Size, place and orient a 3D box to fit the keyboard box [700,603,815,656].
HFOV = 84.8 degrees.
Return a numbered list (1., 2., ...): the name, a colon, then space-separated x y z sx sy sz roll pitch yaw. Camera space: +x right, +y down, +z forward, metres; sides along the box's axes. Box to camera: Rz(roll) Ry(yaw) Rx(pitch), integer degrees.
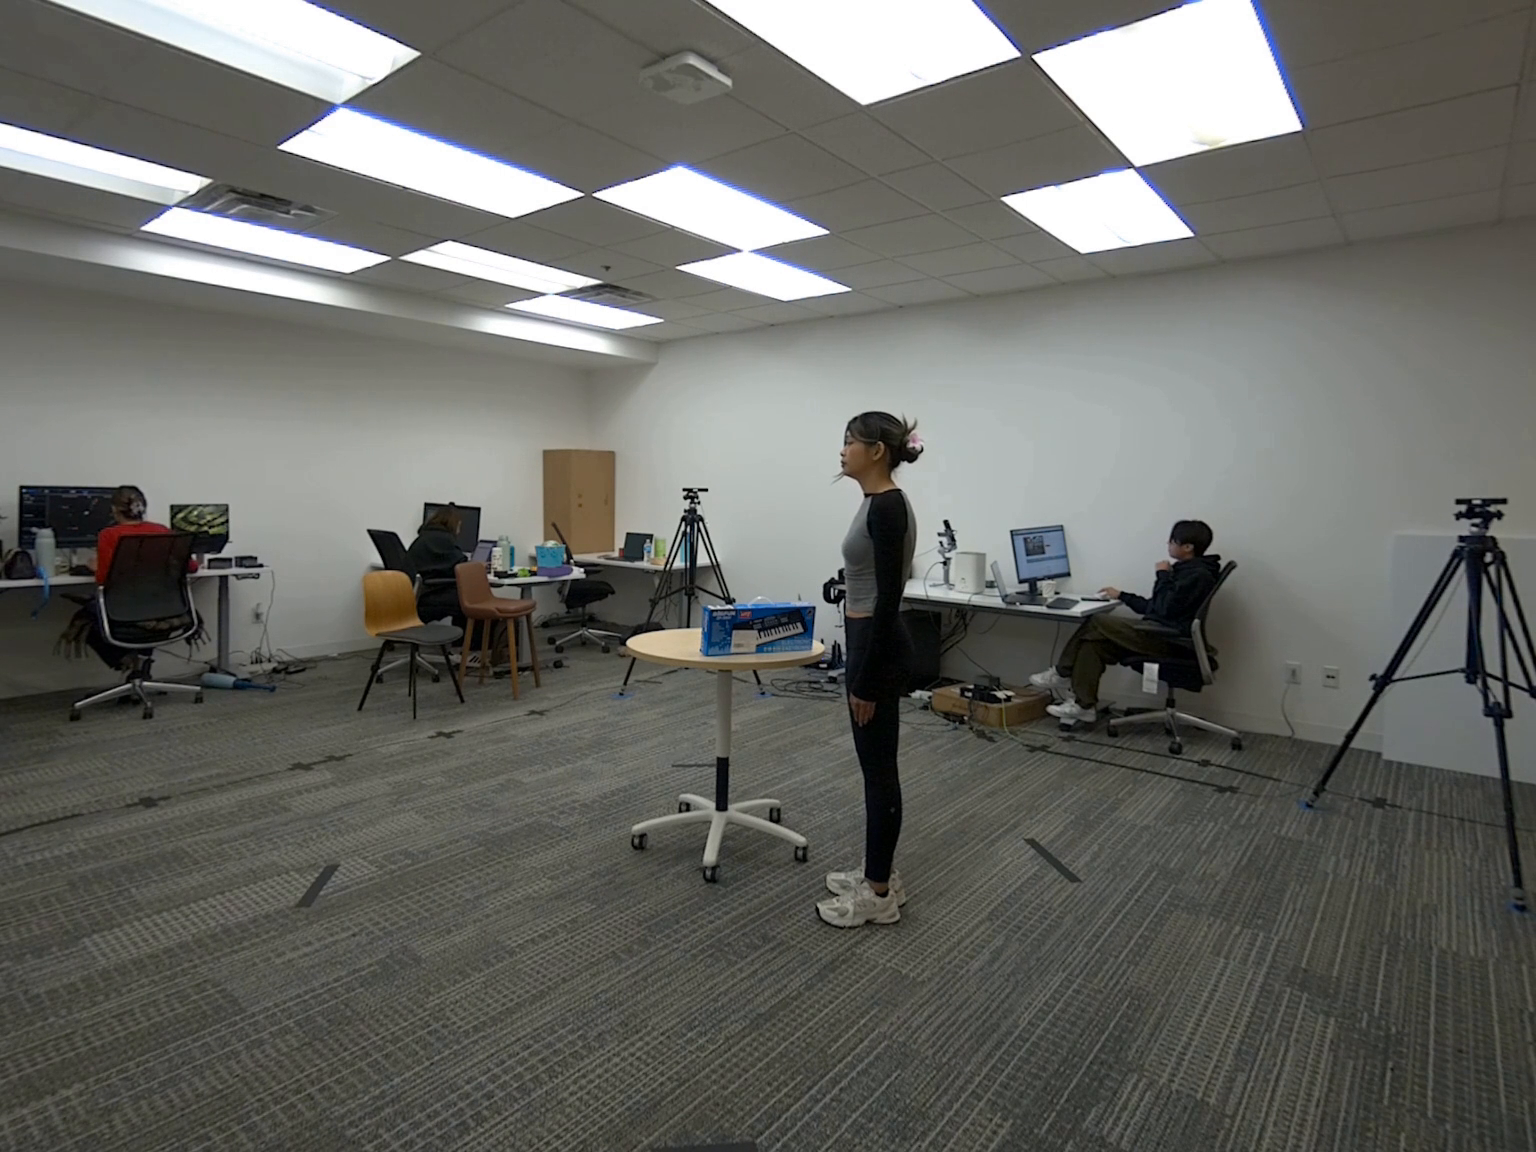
1. keyboard box: -0.038 0.192 3.109 0.426 0.175 0.061 -1 9 -25
